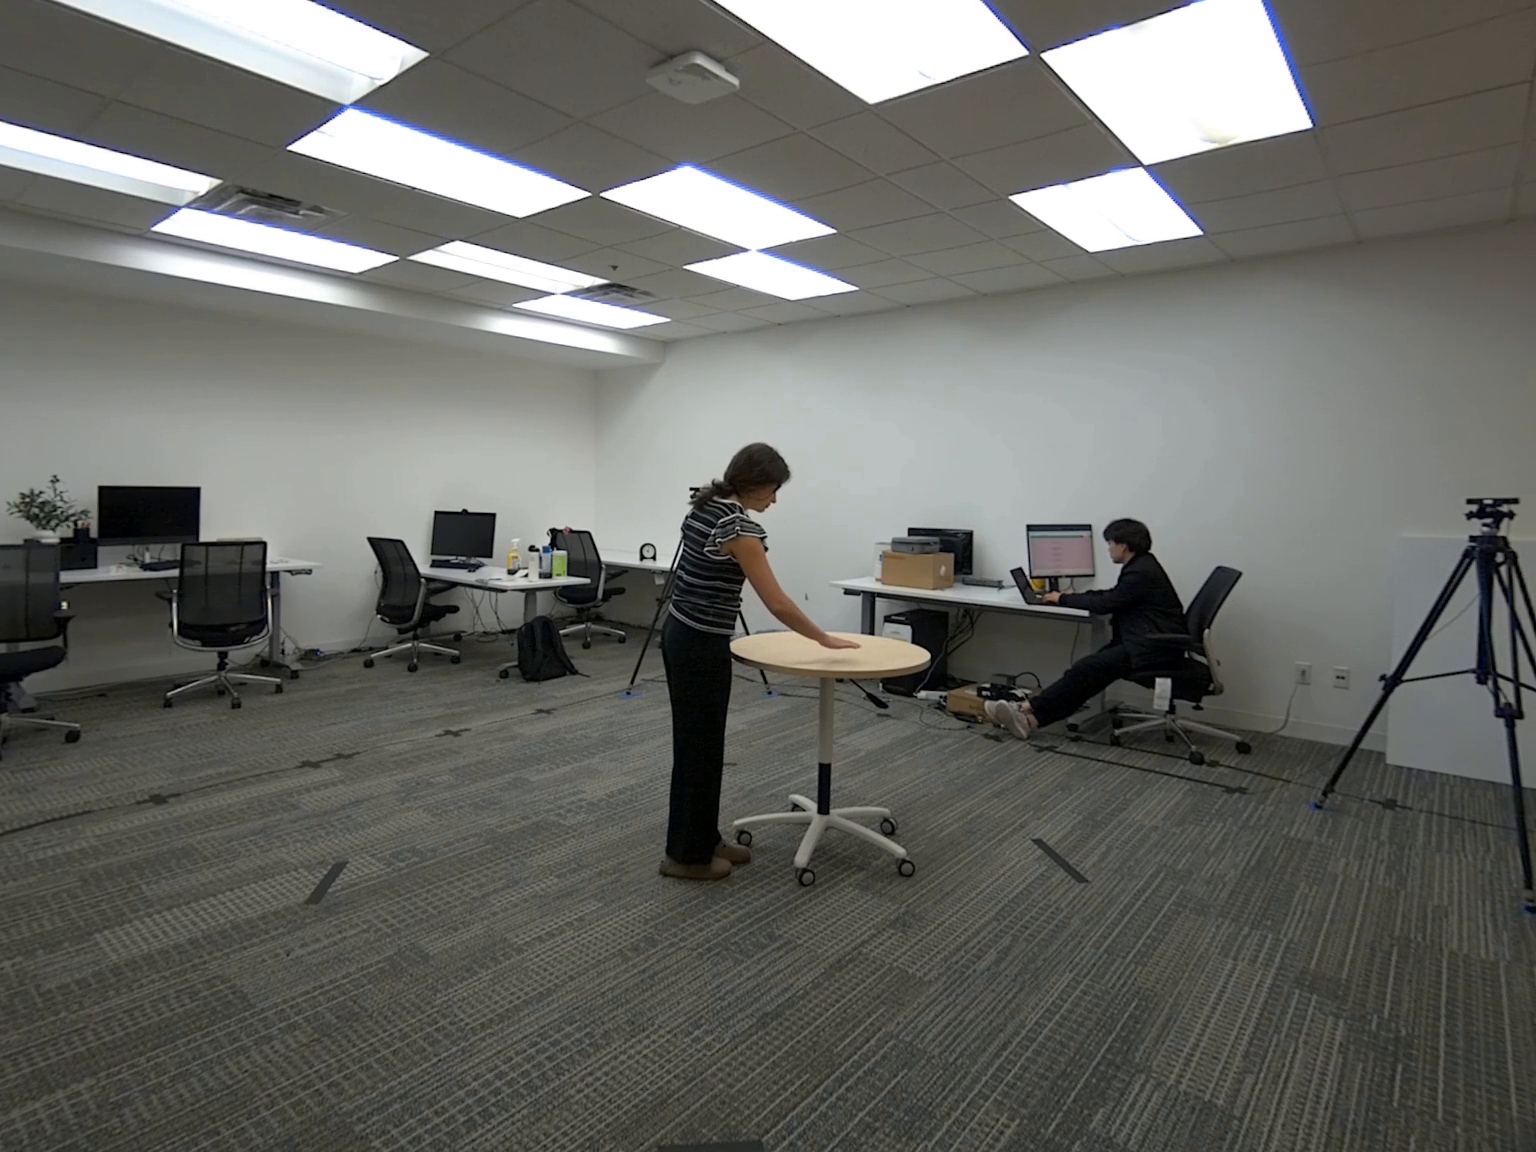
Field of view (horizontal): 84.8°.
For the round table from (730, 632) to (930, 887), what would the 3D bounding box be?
[{"bbox_3d":[0.214,0.671,3.293,0.763,0.791,0.768,1,5,-2],"label":"round table"}]
